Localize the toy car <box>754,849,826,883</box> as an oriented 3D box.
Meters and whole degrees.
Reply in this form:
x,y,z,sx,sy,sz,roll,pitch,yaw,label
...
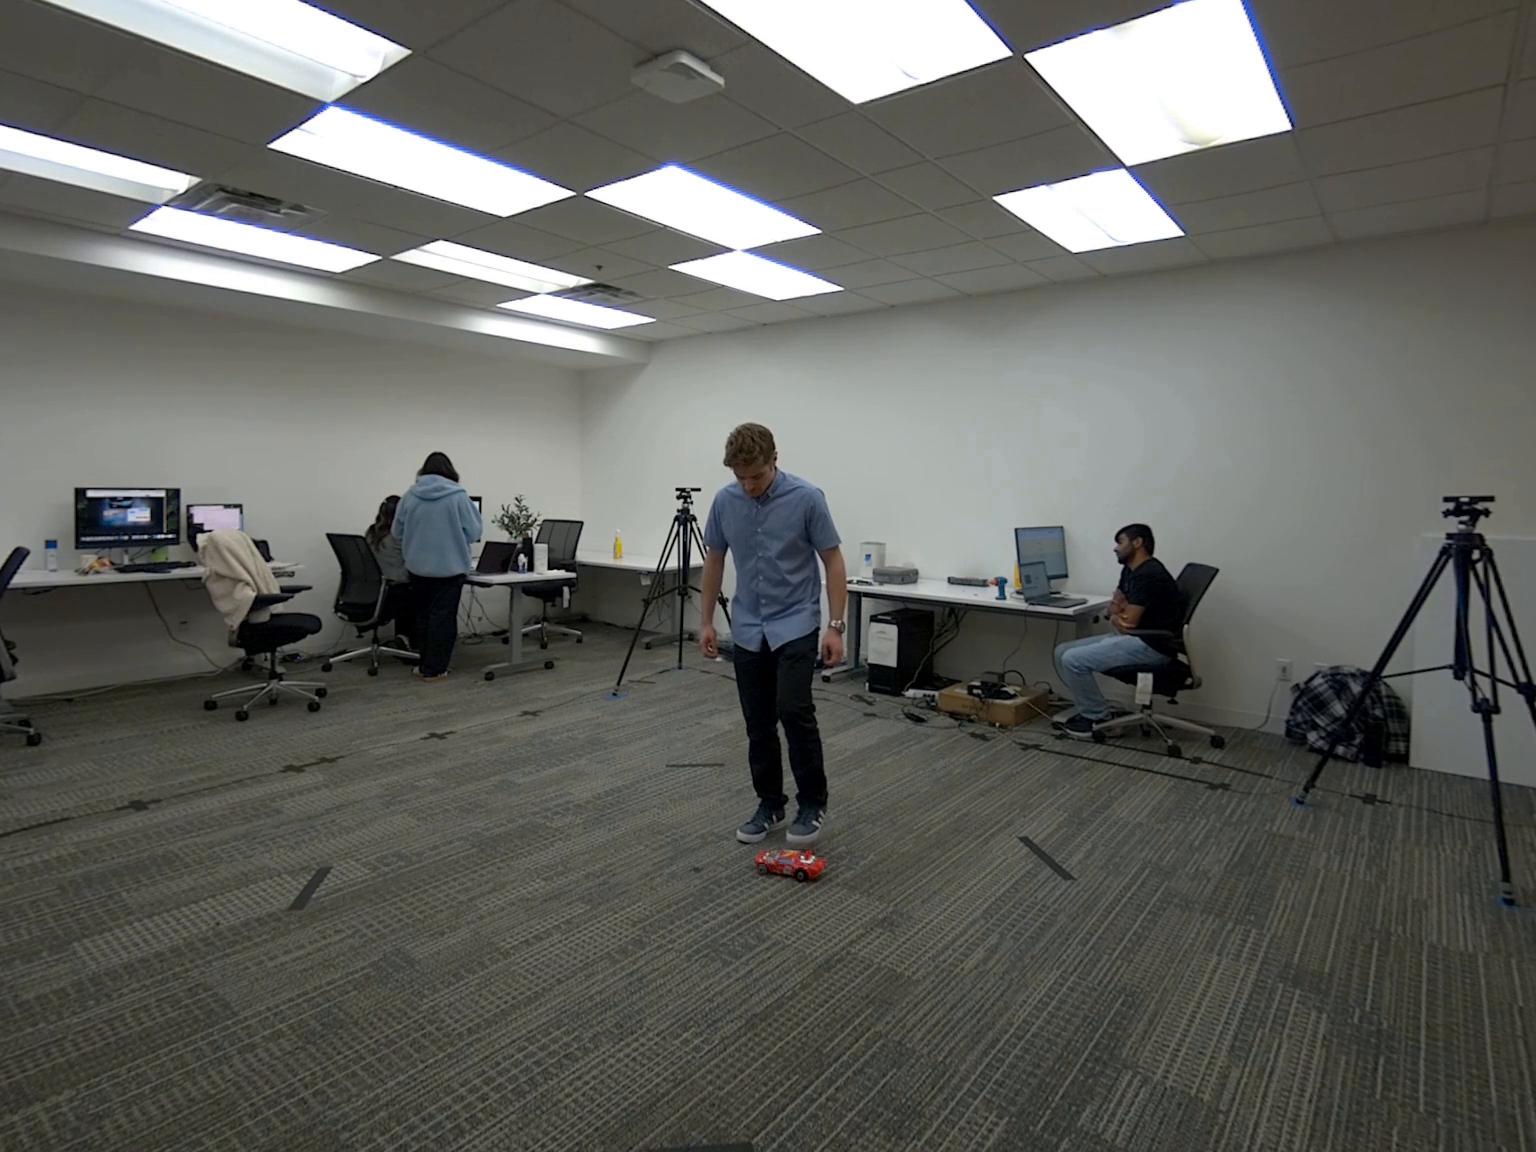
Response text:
x,y,z,sx,sy,sz,roll,pitch,yaw,label
0.079,1.043,3.090,0.259,0.083,0.128,-7,2,20,toy car
